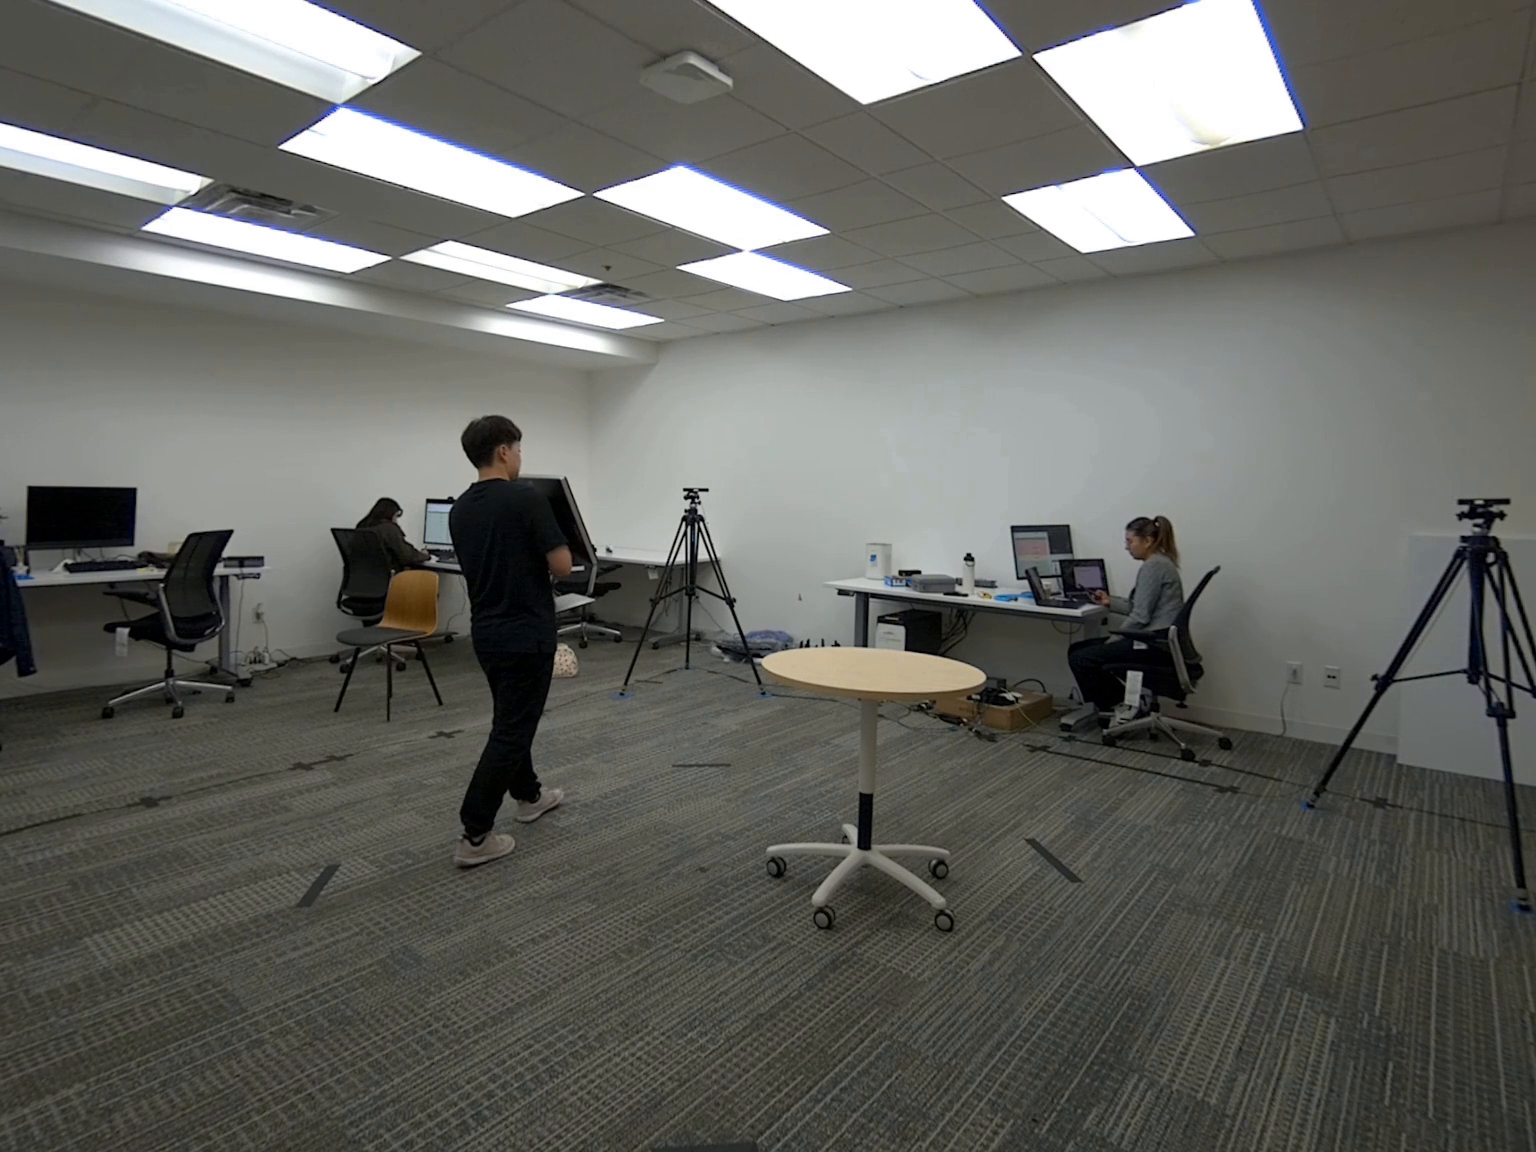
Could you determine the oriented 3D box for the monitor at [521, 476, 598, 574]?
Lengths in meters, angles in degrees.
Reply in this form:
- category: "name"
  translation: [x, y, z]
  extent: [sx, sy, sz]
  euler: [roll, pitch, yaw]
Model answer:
- category: "monitor"
  translation: [-0.887, -0.144, 3.415]
  extent: [0.183, 0.516, 0.558]
  euler: [-15, 14, -36]
